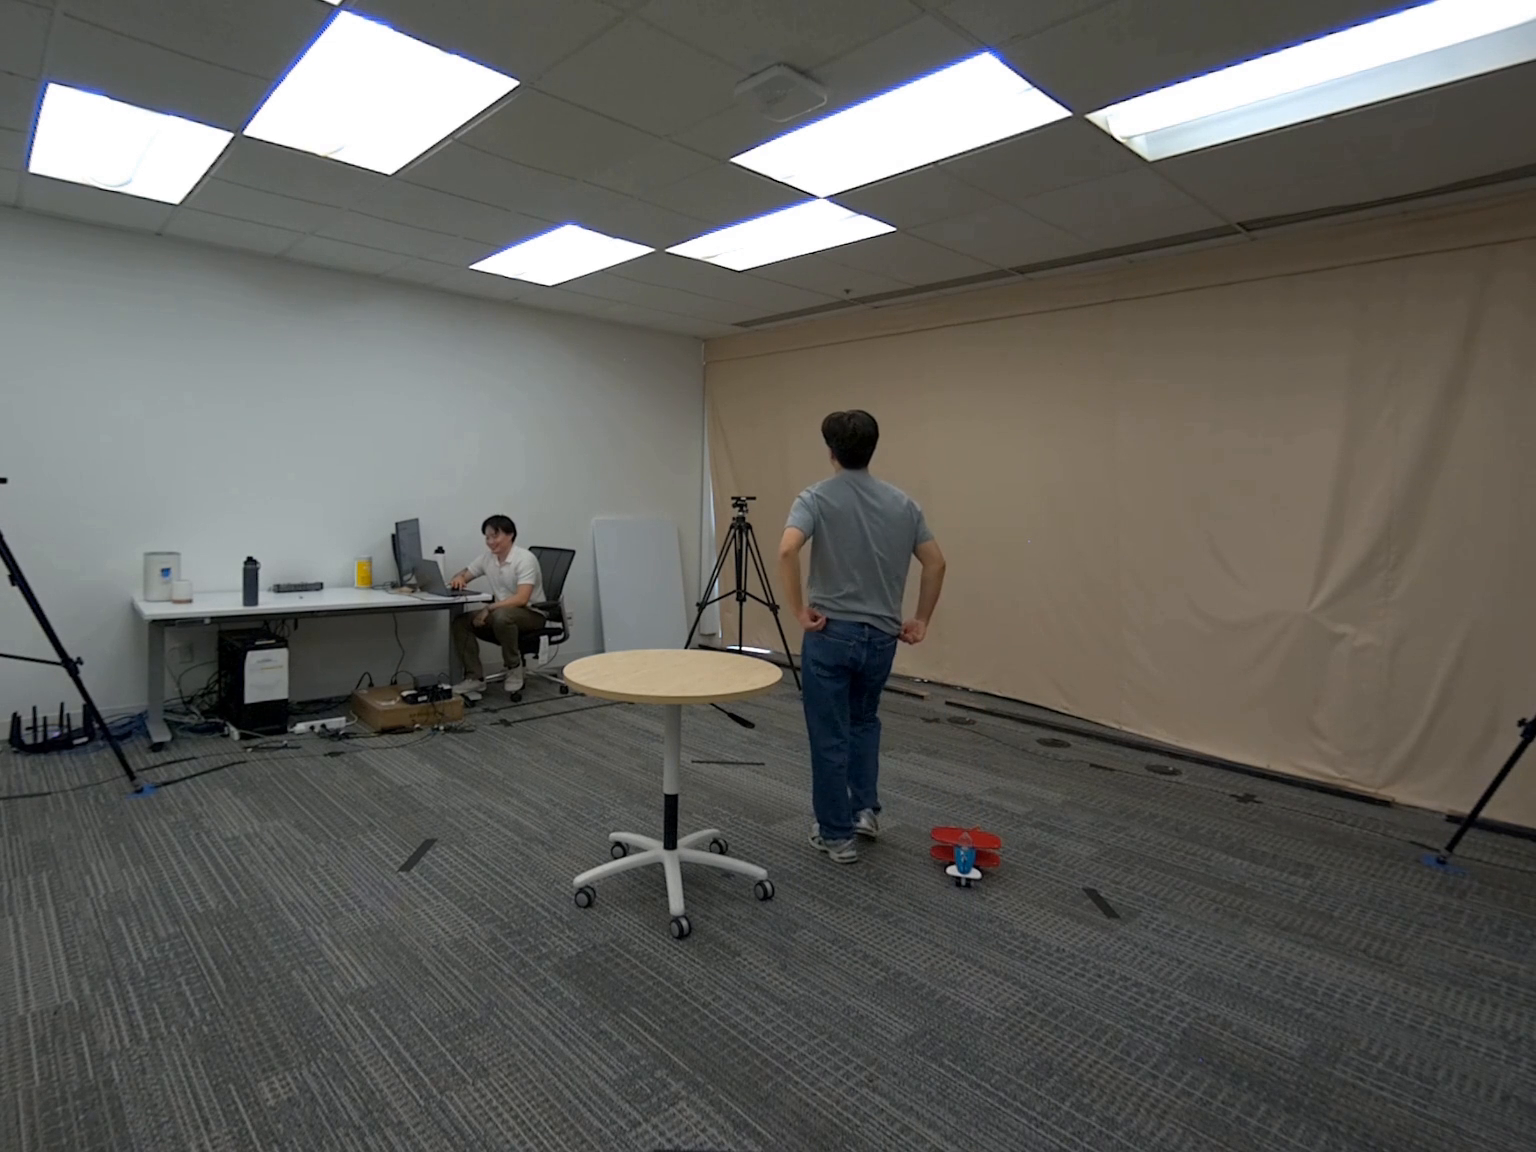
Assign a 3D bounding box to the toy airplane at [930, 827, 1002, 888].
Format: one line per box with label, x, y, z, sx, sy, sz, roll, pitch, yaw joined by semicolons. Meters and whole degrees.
toy airplane;0.752;1.055;3.146;0.249;0.156;0.262;1;3;-12
